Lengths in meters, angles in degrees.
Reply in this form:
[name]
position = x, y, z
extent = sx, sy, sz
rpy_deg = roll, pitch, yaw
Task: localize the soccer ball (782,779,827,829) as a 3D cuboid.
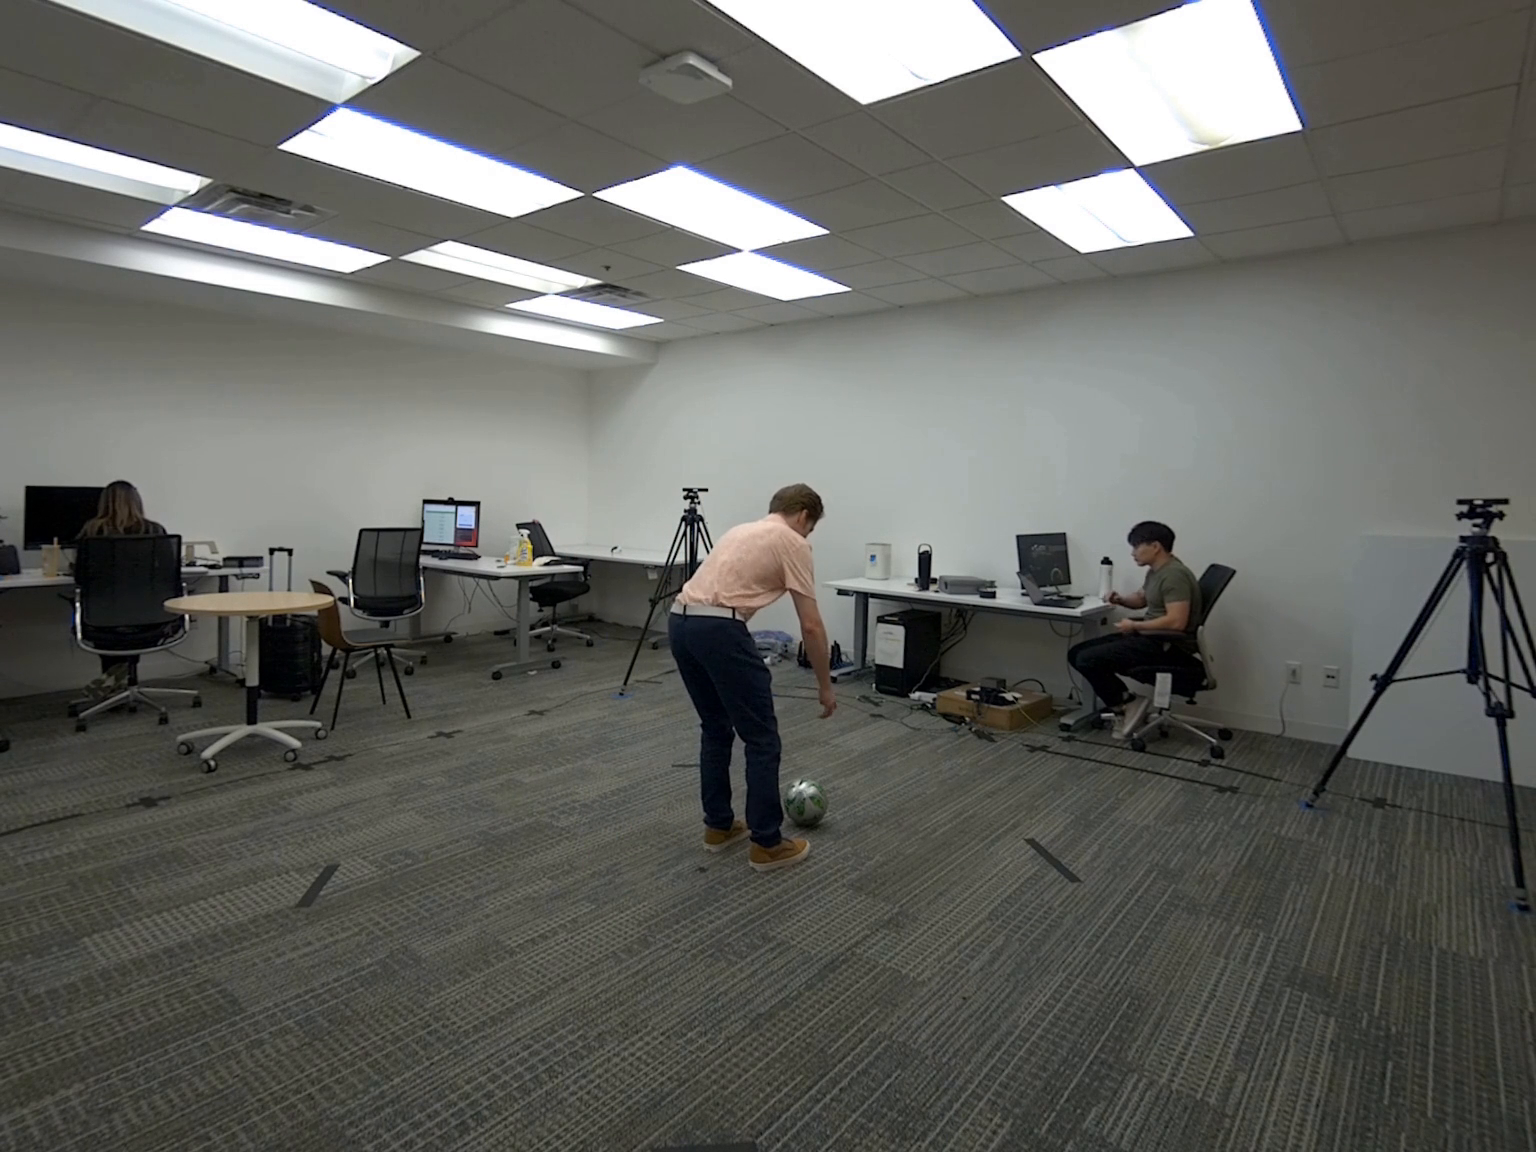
[soccer ball]
position = 0.151, 0.944, 3.556
extent = 0.187, 0.187, 0.188
rpy_deg = 1, 4, -2
